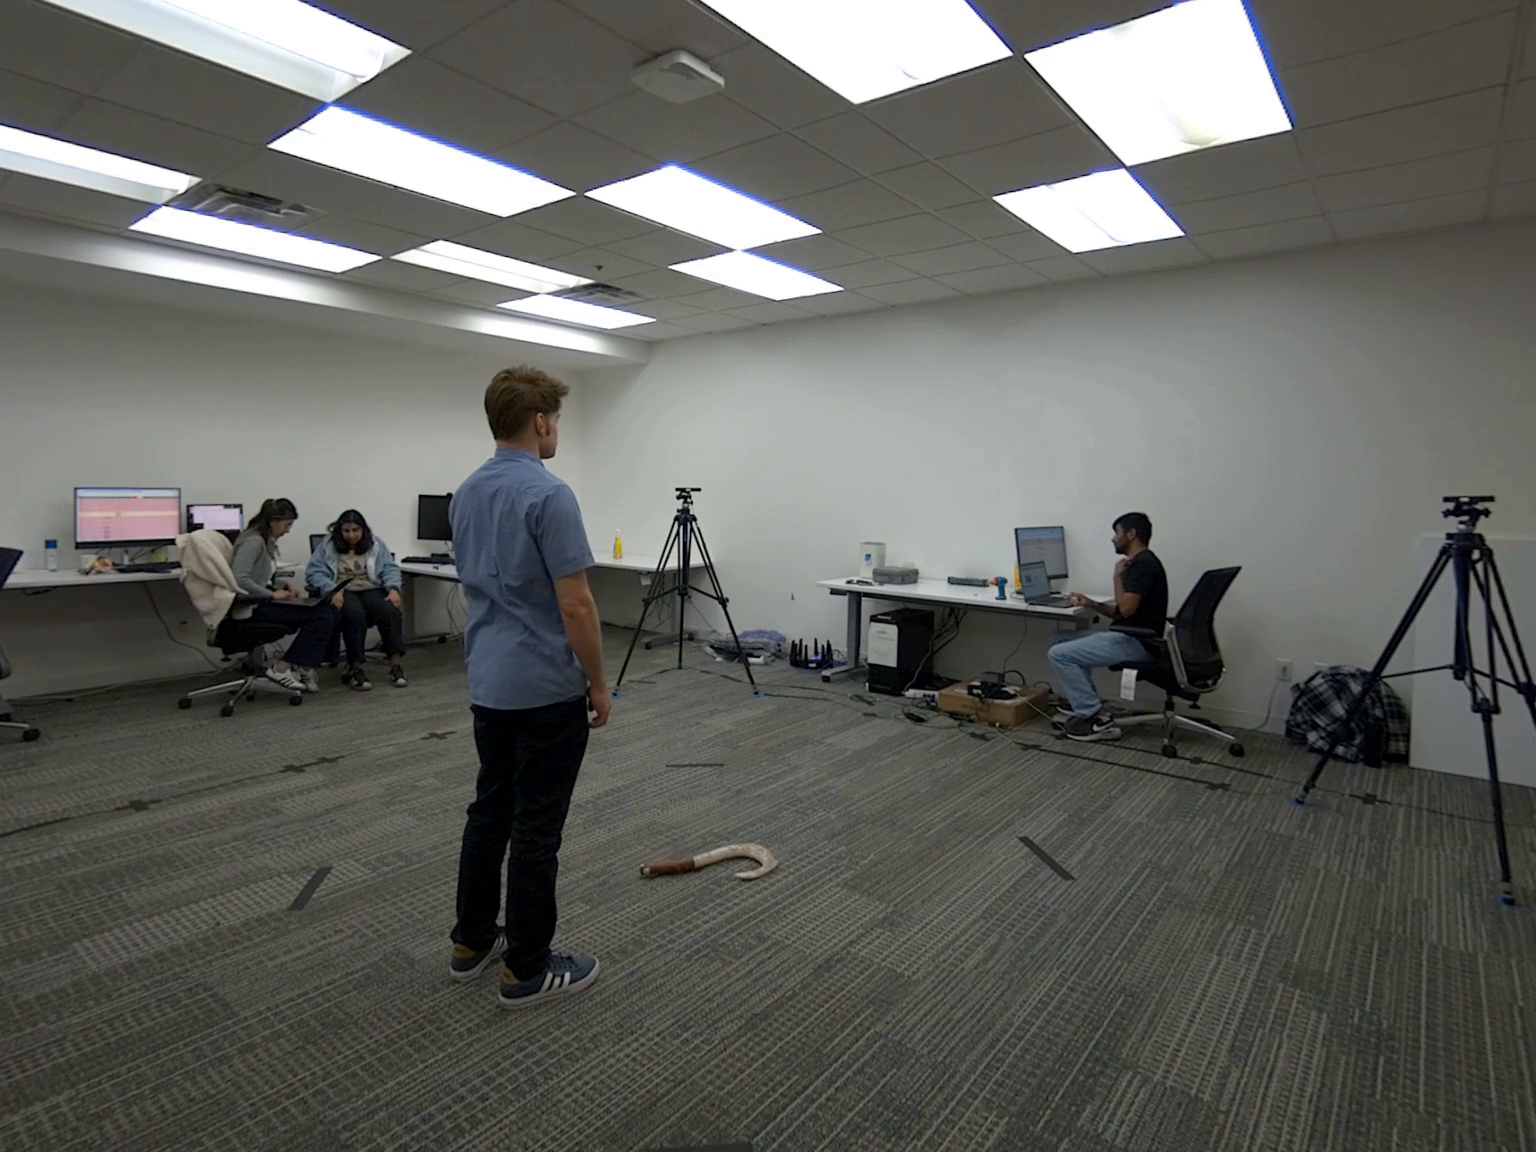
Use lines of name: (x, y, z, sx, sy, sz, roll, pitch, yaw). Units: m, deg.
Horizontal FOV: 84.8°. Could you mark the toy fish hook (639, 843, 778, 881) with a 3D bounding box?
toy fish hook: (-0.216, 1.048, 3.082, 0.495, 0.048, 0.231, -2, 6, -24)
